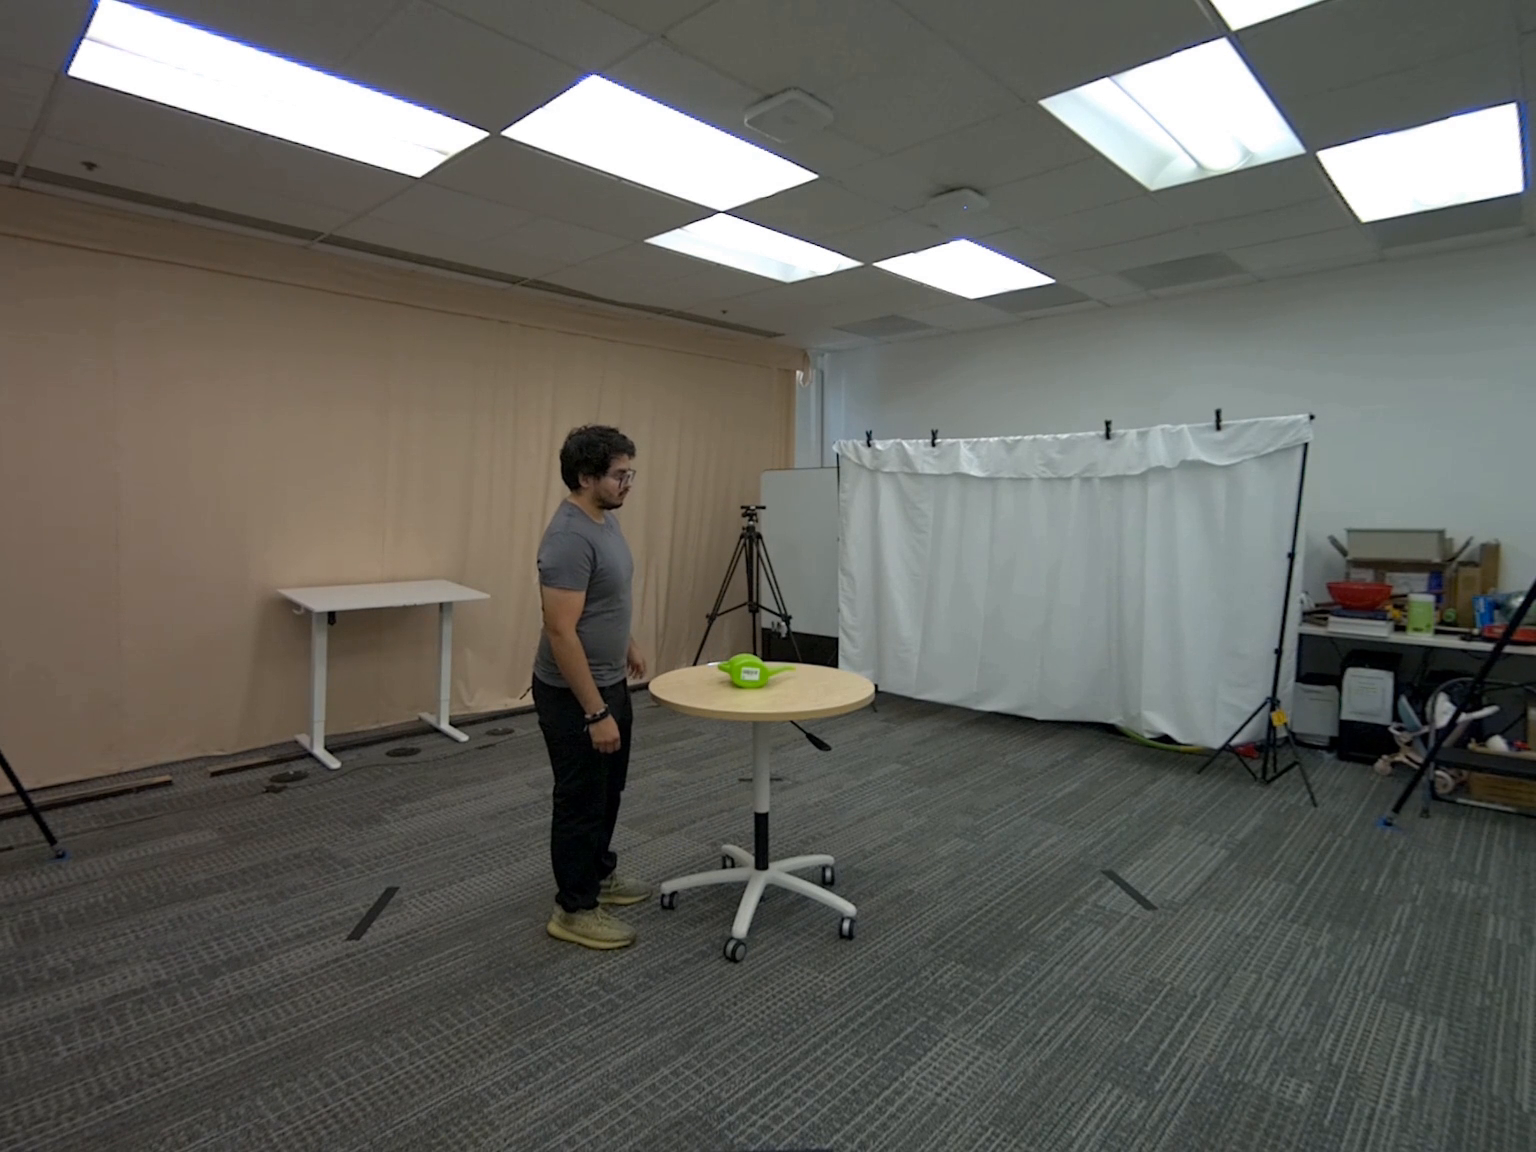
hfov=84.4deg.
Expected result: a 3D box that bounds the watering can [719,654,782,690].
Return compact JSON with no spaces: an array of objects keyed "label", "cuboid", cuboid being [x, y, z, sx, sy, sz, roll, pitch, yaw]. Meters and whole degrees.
[{"label":"watering can","cuboid":[-0.026,0.317,2.887,0.276,0.097,0.179,-8,7,-7]}]
